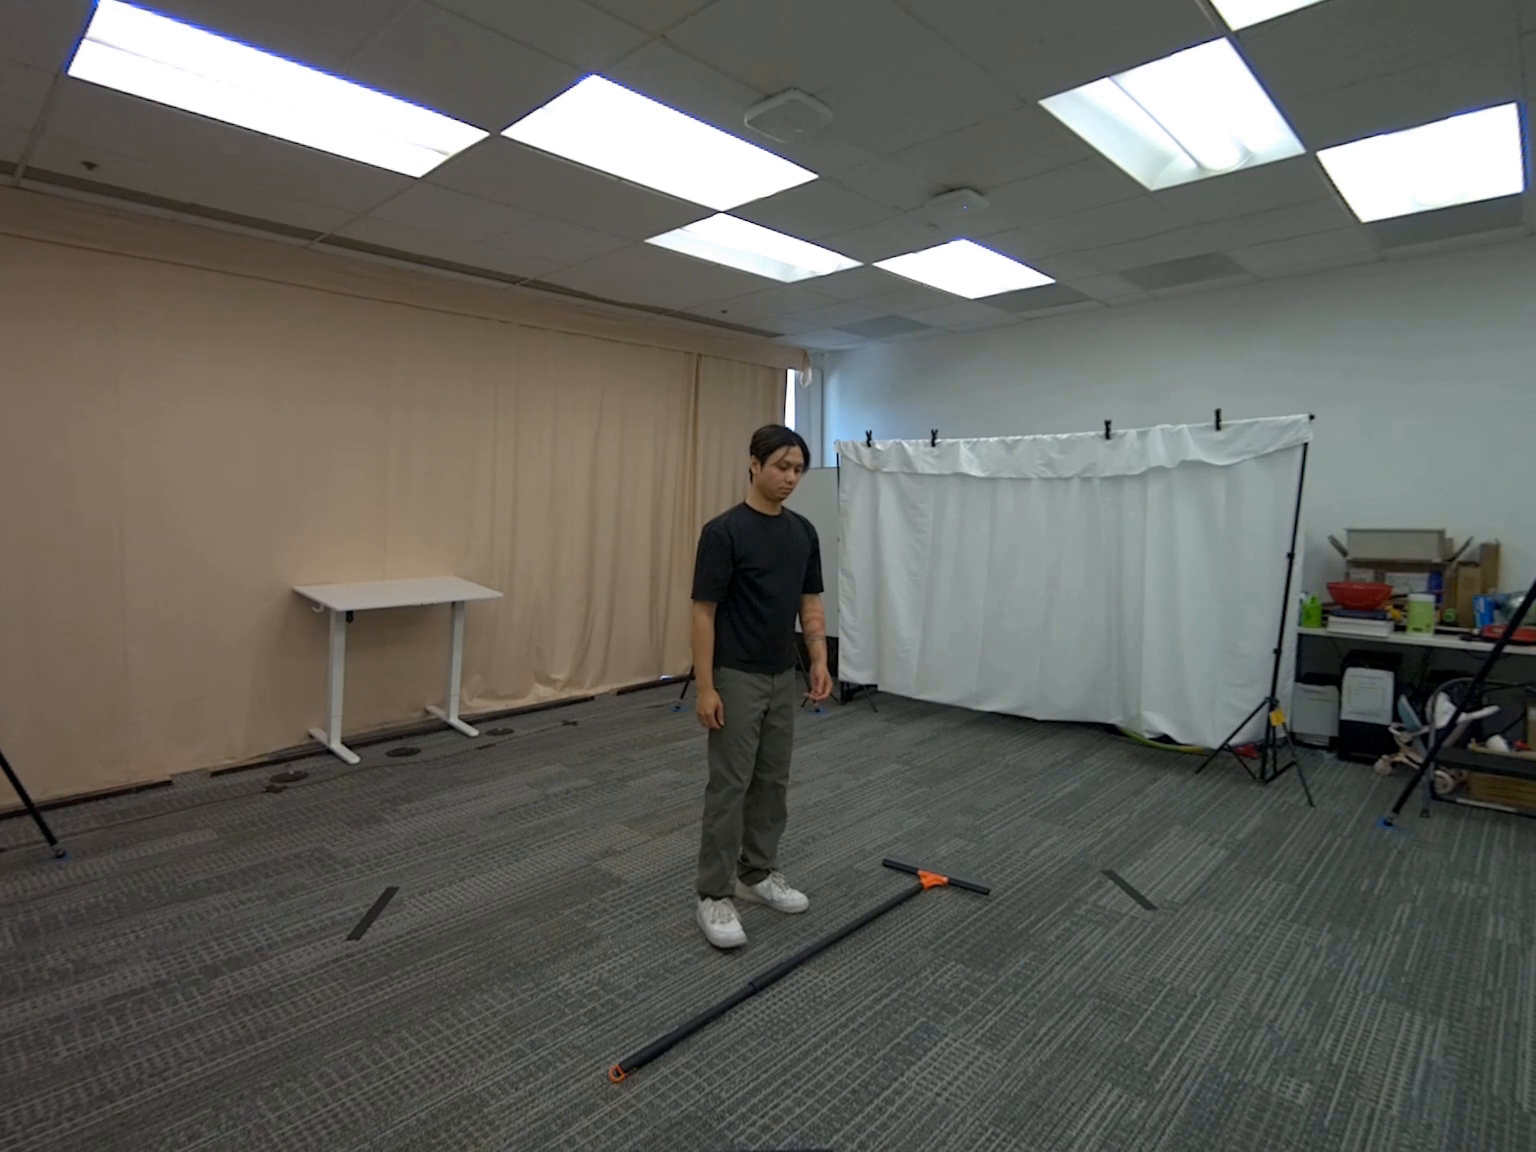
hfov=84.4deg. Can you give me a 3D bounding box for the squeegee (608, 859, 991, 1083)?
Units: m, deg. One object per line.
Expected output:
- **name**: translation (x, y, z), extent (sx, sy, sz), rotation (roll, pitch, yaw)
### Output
- **squeegee**: translation (0.129, 1.138, 2.585), extent (0.452, 0.053, 1.491), rotation (1, 5, 43)
